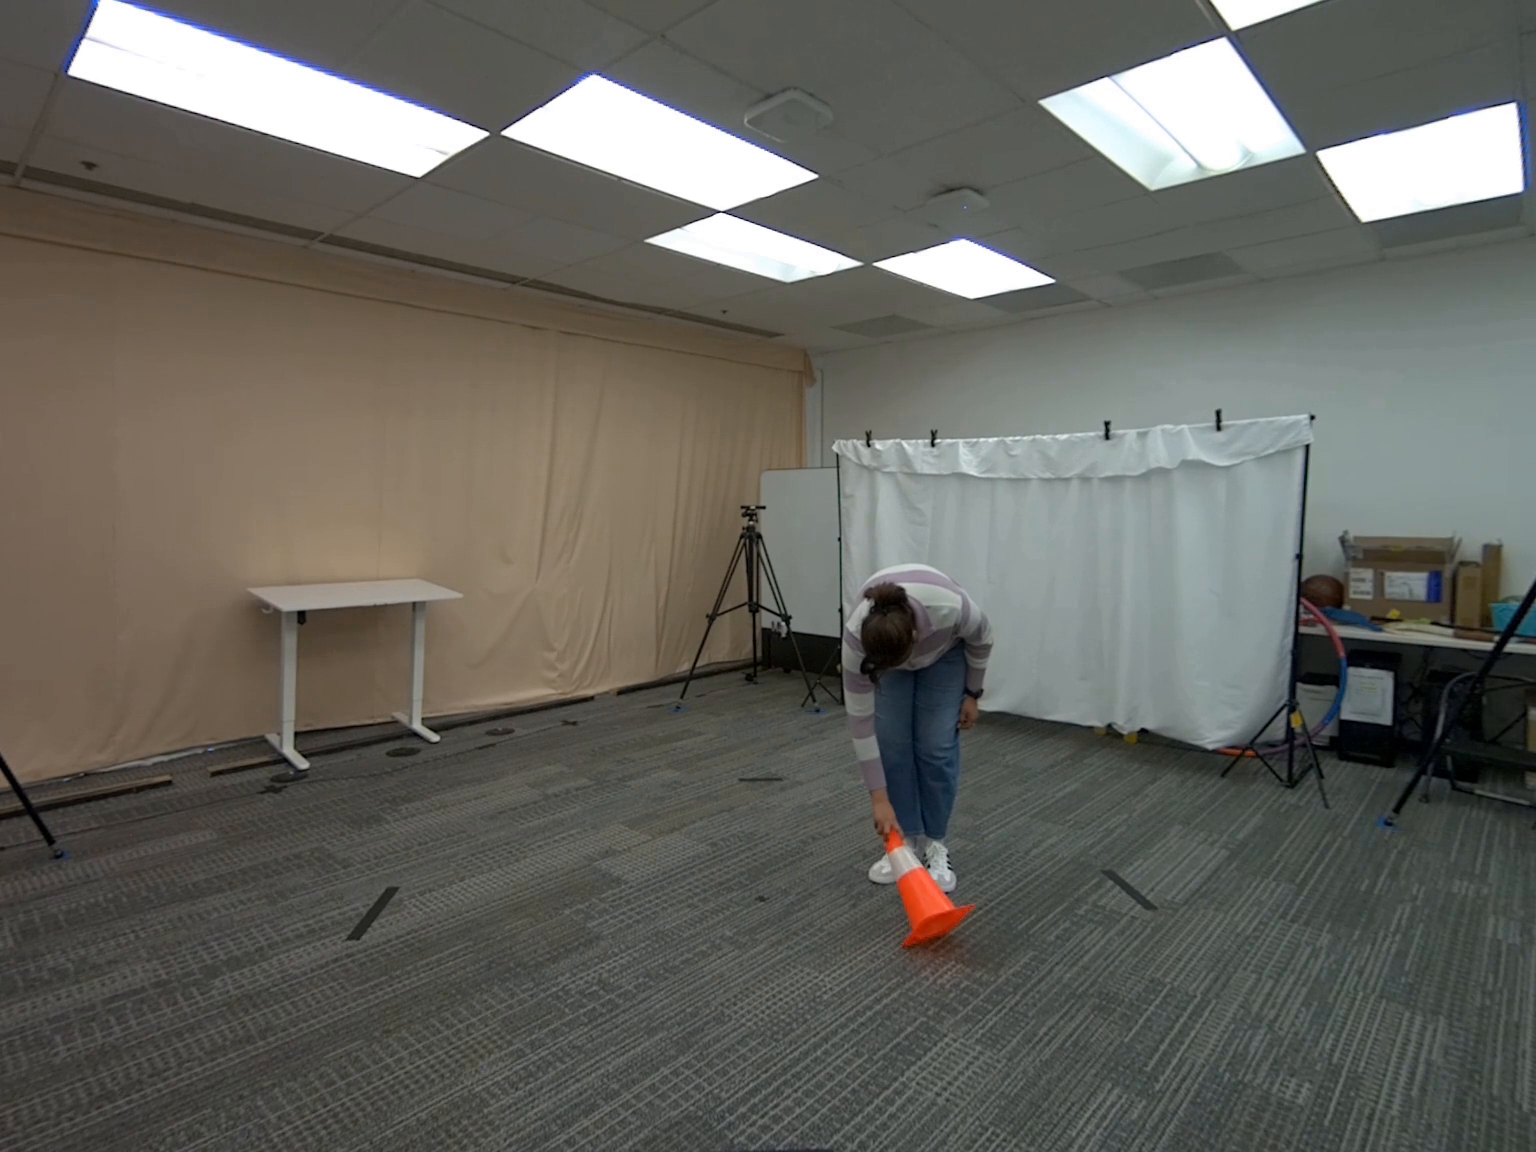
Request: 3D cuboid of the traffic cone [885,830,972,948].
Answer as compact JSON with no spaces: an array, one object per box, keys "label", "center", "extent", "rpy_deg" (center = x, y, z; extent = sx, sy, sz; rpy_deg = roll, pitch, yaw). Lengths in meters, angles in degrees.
[{"label":"traffic cone","center":[0.459,0.959,2.759],"extent":[0.201,0.201,0.395],"rpy_deg":[-13,47,-13]}]
